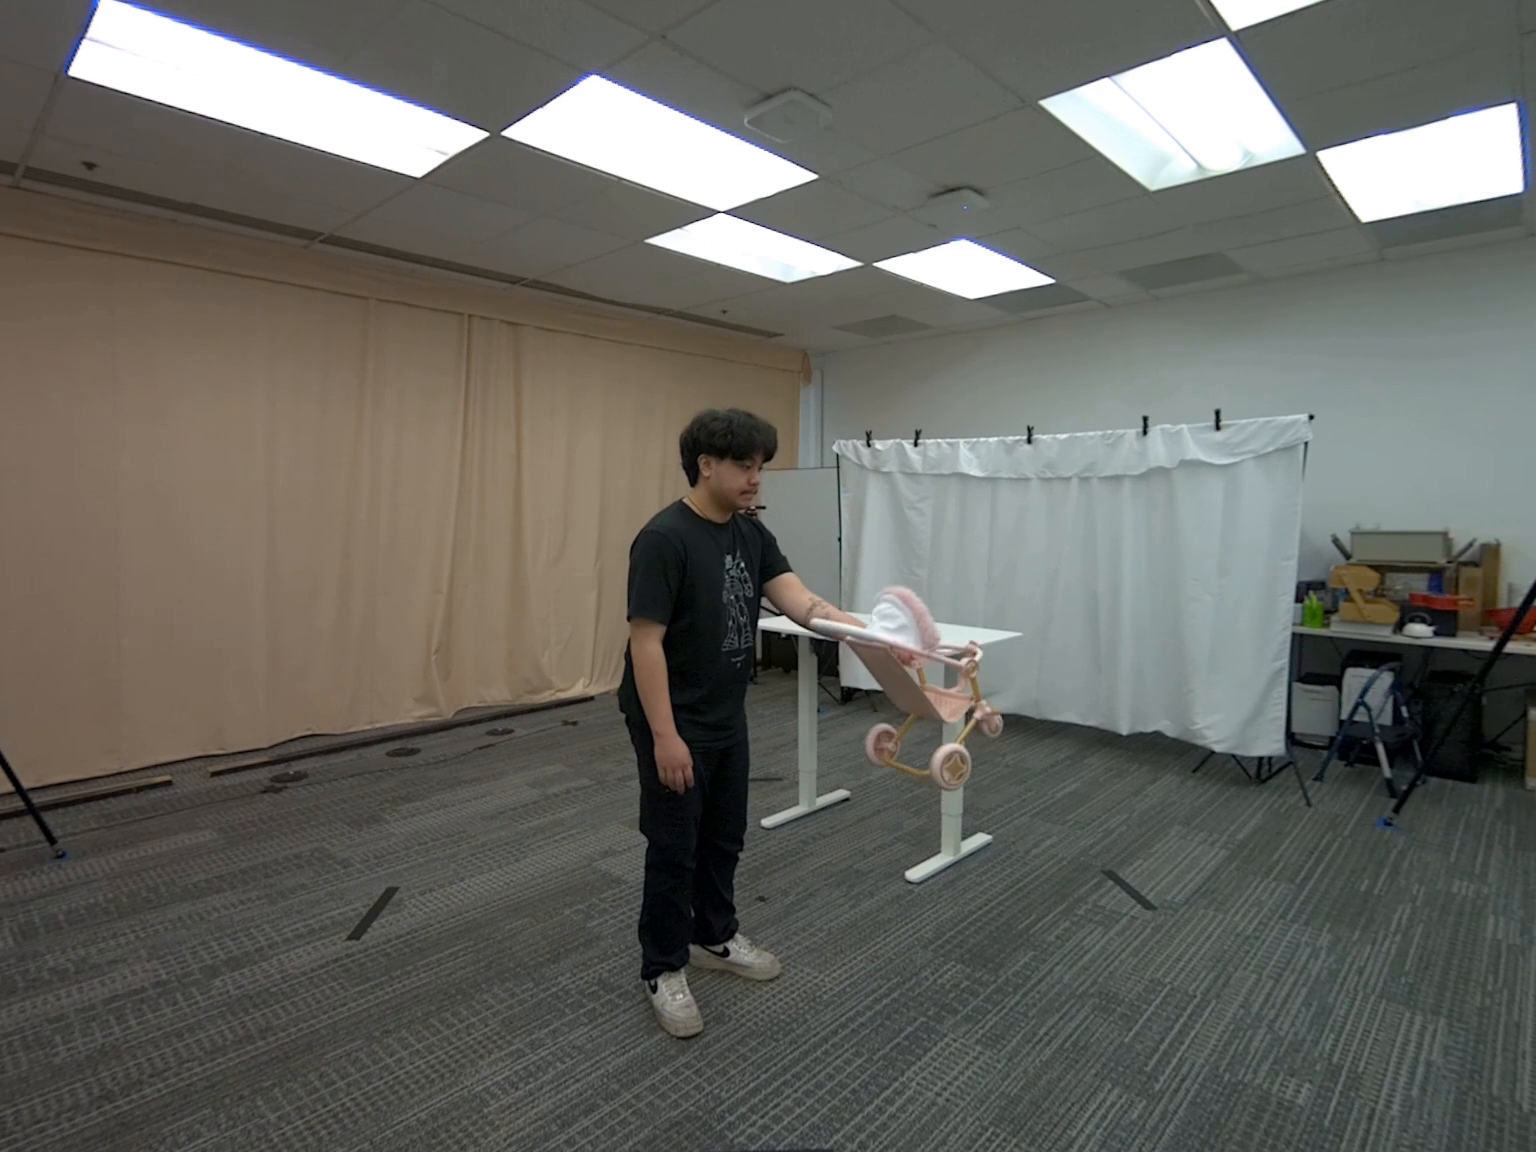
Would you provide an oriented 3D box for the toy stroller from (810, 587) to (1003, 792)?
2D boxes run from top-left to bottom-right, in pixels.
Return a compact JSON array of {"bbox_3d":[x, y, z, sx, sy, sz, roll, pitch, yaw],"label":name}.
[{"bbox_3d":[0.380,0.257,2.047,0.338,0.528,0.288,-32,14,-20],"label":"toy stroller"}]
